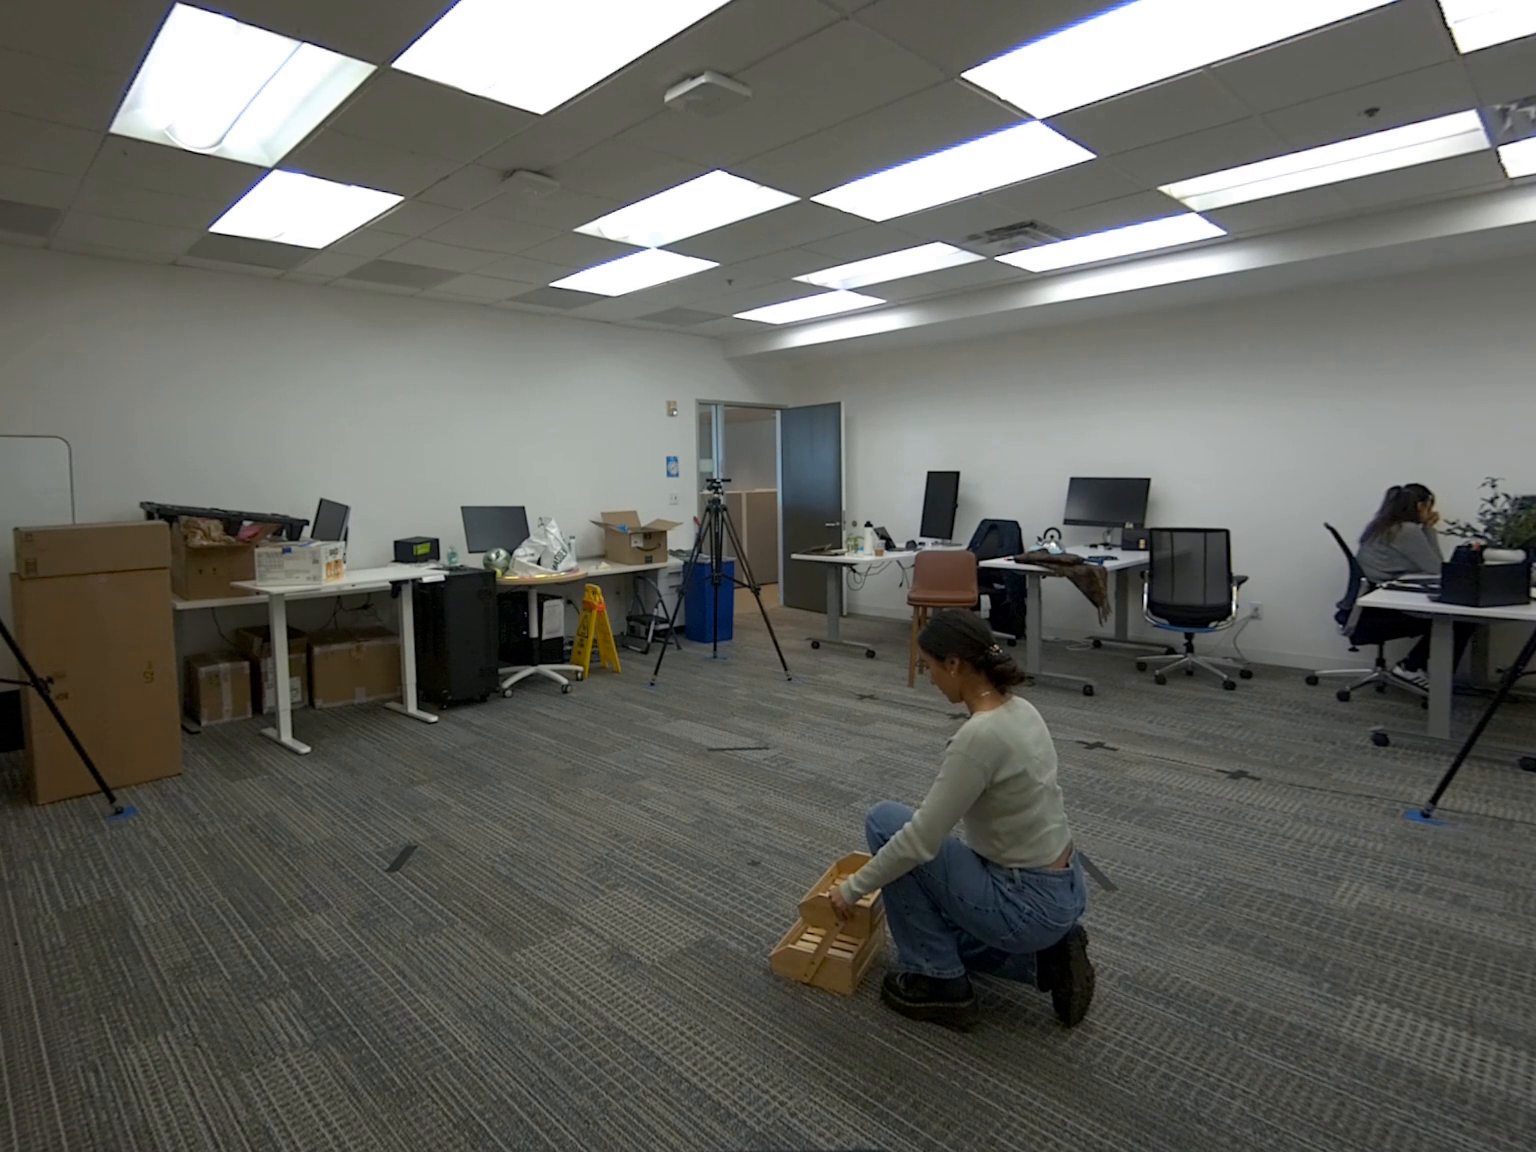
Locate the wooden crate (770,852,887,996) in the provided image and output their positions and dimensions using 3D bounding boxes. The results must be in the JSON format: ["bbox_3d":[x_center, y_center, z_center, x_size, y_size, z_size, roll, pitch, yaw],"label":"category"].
[{"bbox_3d":[0.198,0.980,2.473,0.309,0.272,0.318,2,7,26],"label":"wooden crate"}]
